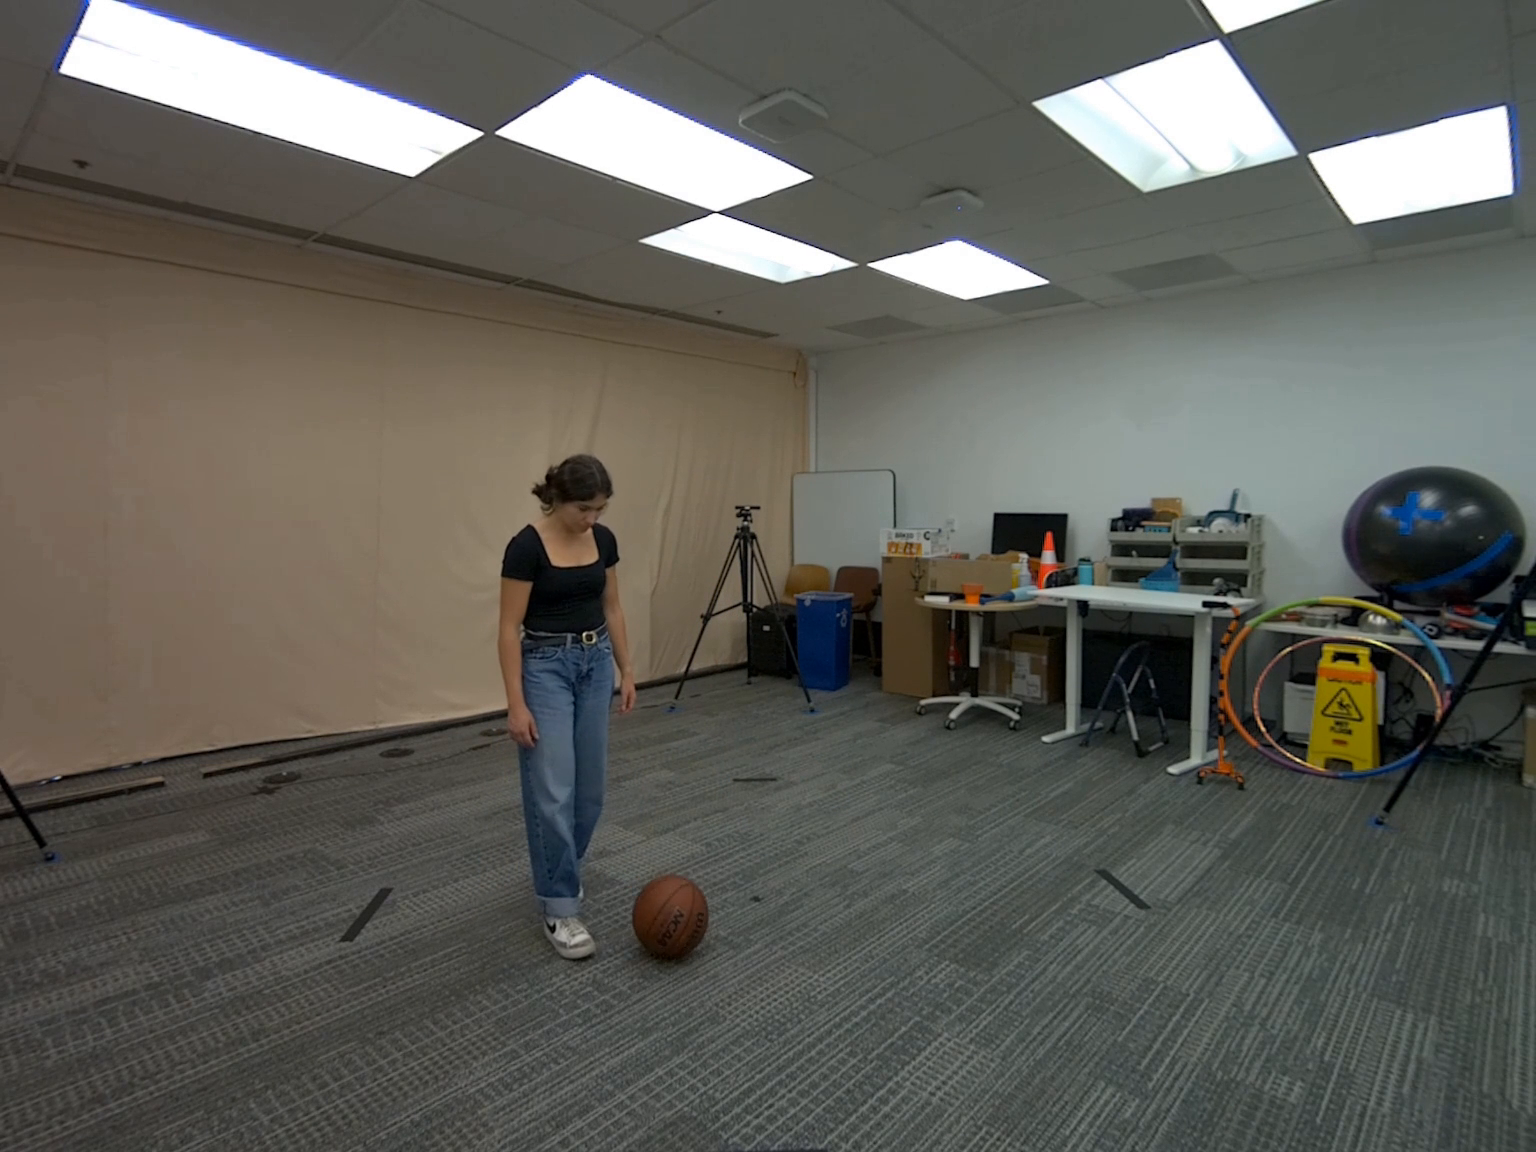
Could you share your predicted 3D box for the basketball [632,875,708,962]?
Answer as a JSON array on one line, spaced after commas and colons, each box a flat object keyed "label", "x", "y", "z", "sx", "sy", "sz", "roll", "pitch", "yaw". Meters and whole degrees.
[{"label": "basketball", "x": -0.299, "y": 1.052, "z": 2.617, "sx": 0.236, "sy": 0.235, "sz": 0.237, "roll": 0, "pitch": 4, "yaw": -2}]
